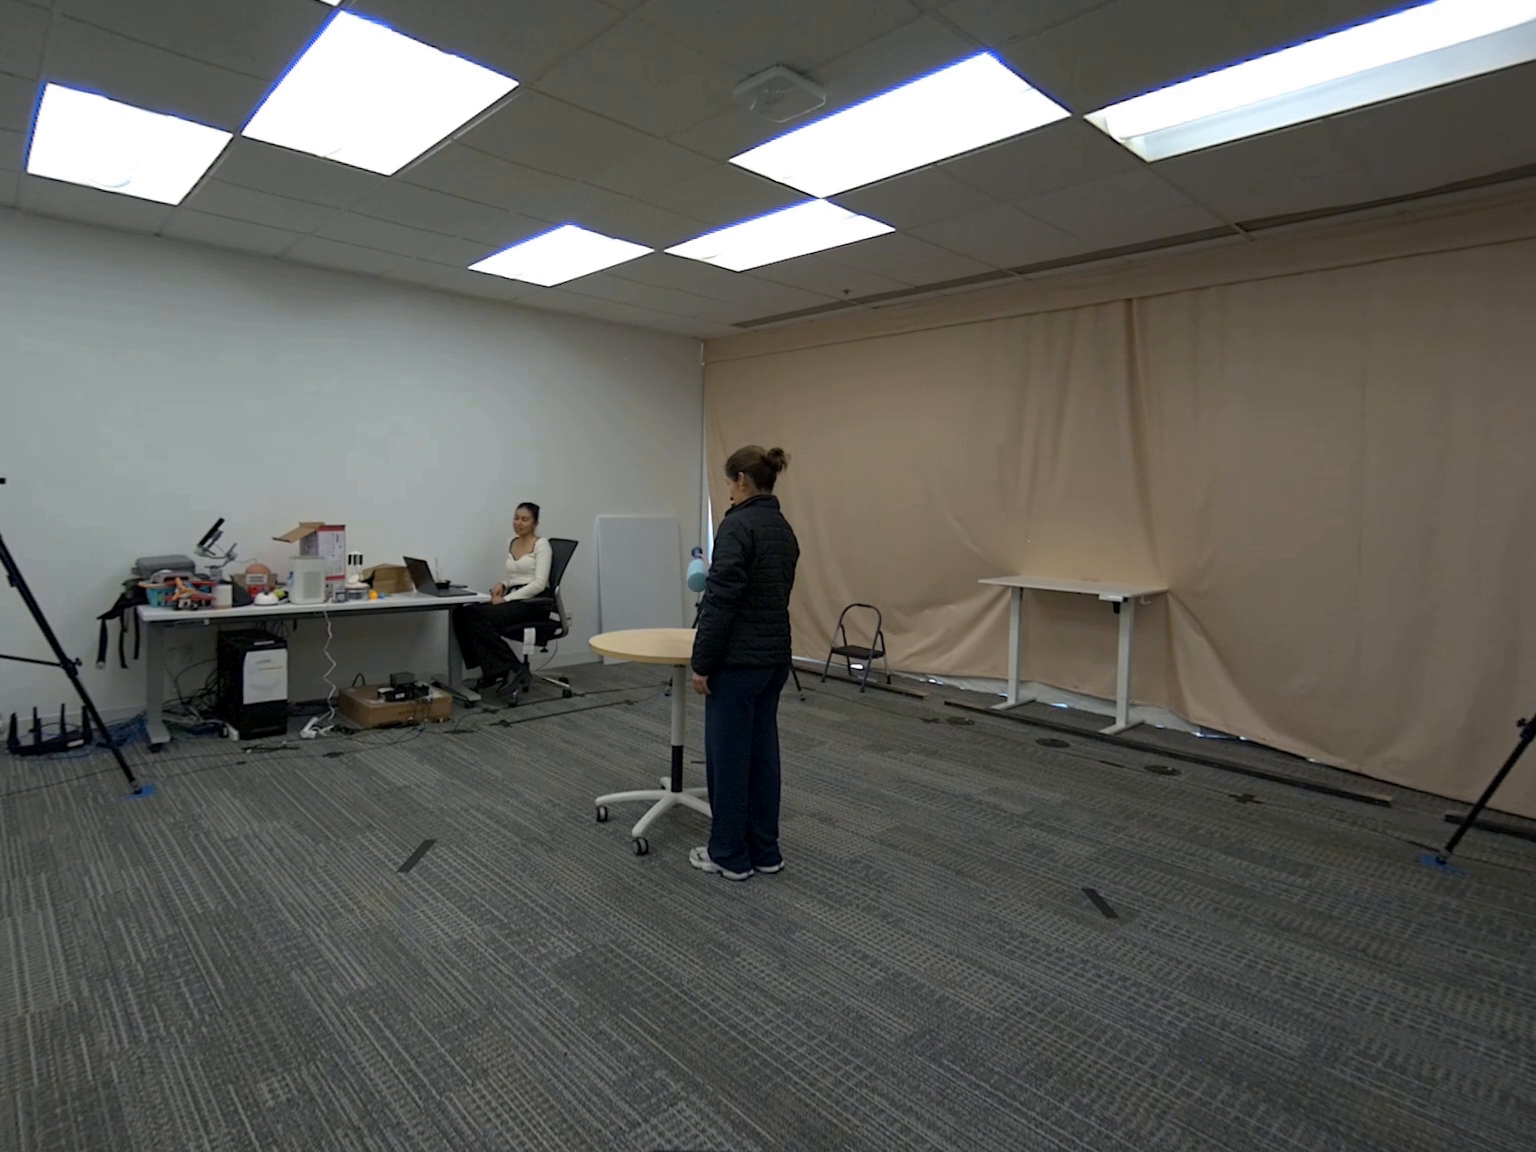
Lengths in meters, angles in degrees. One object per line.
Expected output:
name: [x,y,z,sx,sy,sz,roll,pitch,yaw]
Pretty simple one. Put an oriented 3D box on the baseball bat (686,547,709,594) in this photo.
baseball bat: [-0.305,-0.042,3.464,0.088,0.088,0.551,1,15,-7]
